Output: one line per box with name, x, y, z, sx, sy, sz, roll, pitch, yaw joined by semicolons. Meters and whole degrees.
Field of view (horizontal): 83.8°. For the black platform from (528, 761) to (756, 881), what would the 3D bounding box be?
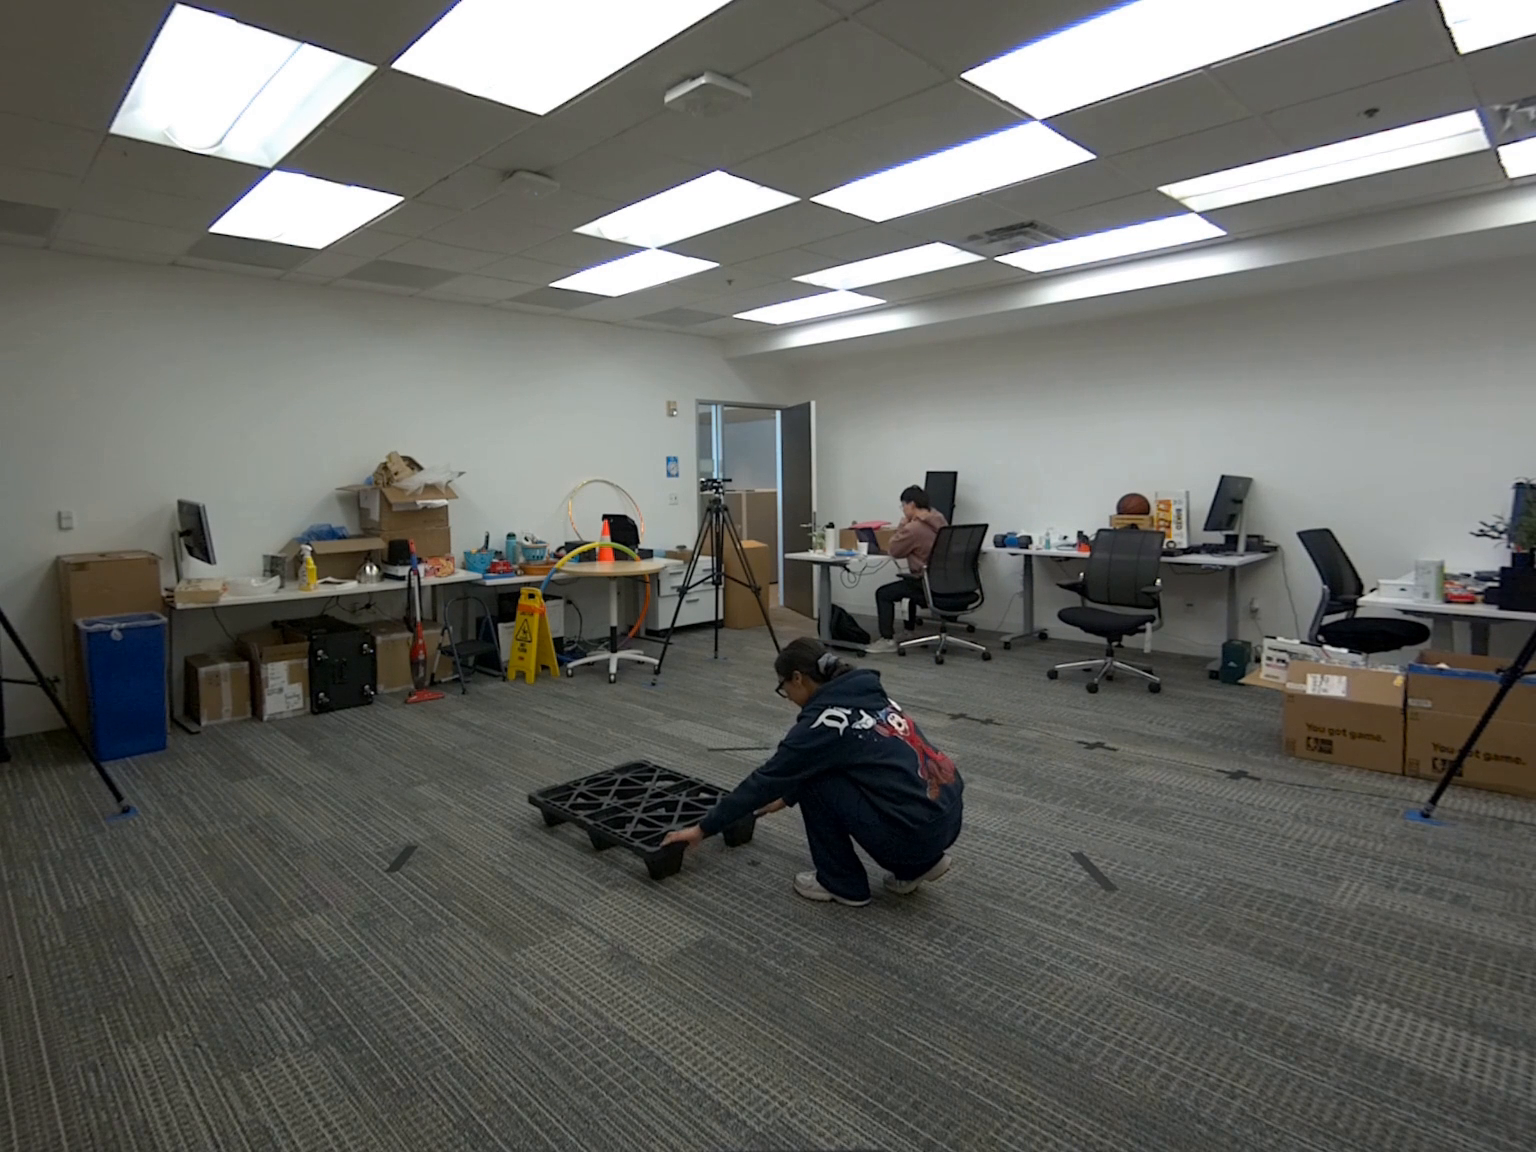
black platform;-0.483;0.953;3.395;0.830;0.142;0.590;5;9;44
